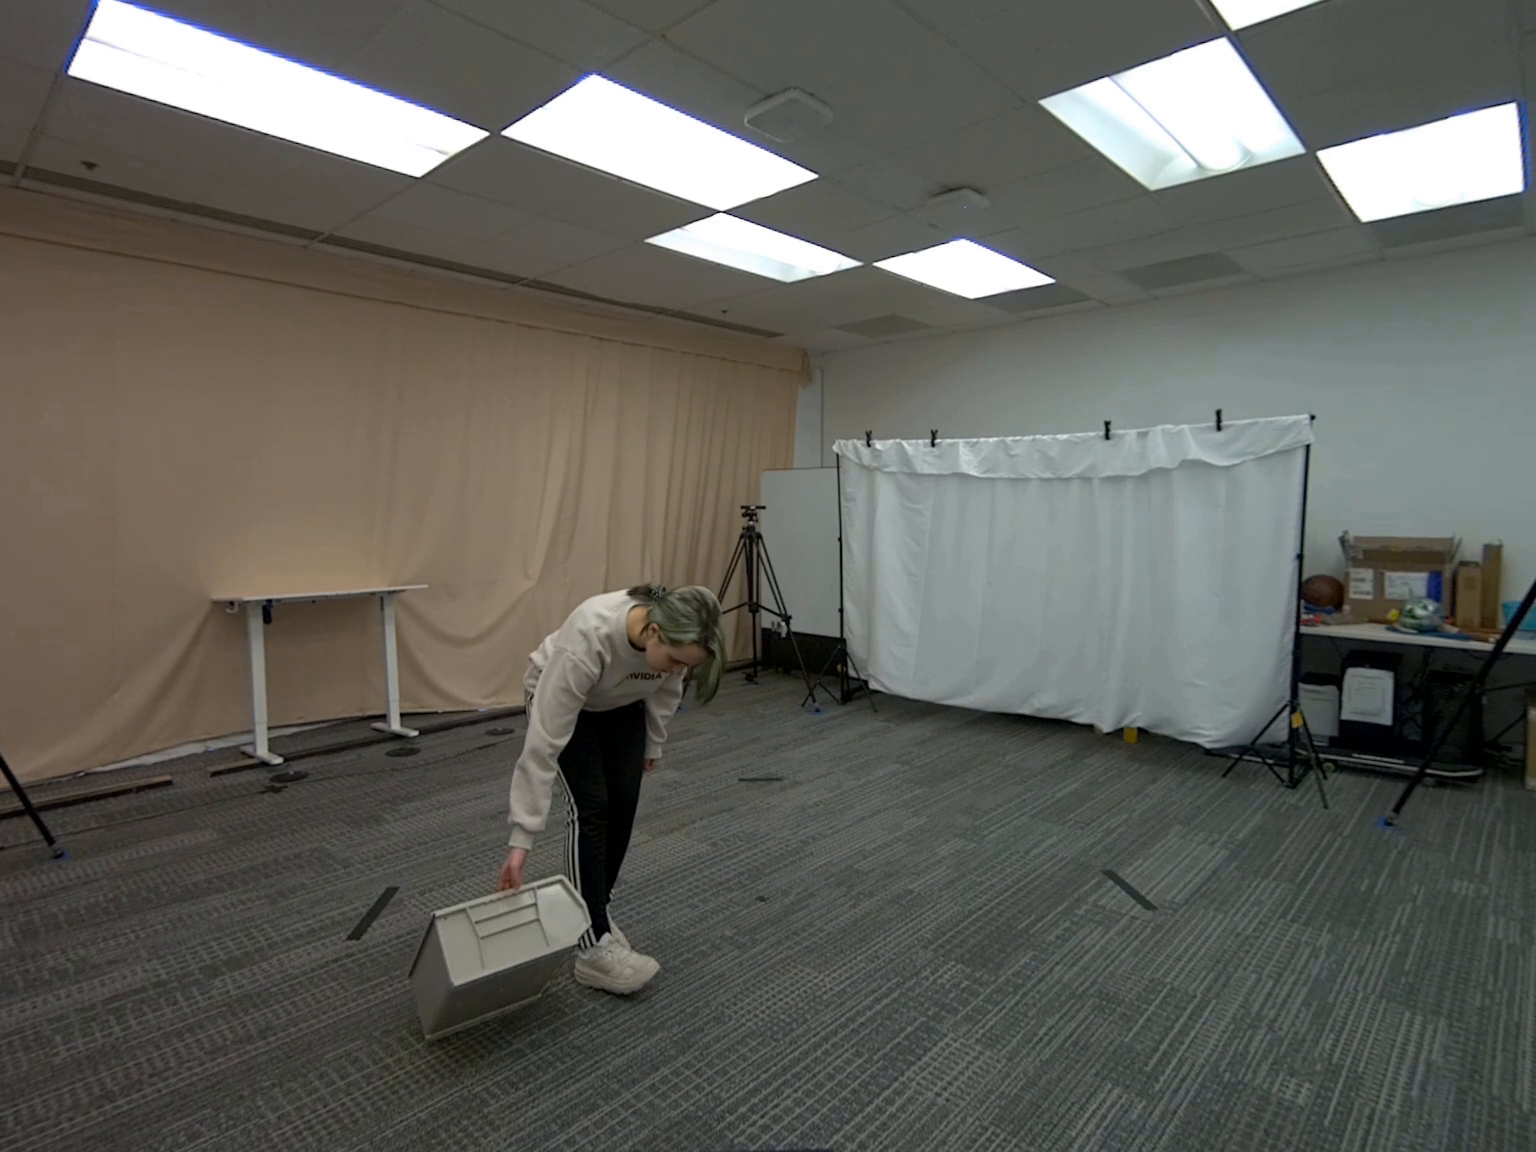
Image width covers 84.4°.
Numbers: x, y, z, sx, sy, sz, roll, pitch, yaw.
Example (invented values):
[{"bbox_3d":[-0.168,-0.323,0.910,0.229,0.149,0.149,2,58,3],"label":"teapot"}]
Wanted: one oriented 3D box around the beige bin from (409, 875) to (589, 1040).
[{"bbox_3d":[-0.711,1.007,2.199,0.366,0.194,0.422,-4,-38,-35],"label":"beige bin"}]
